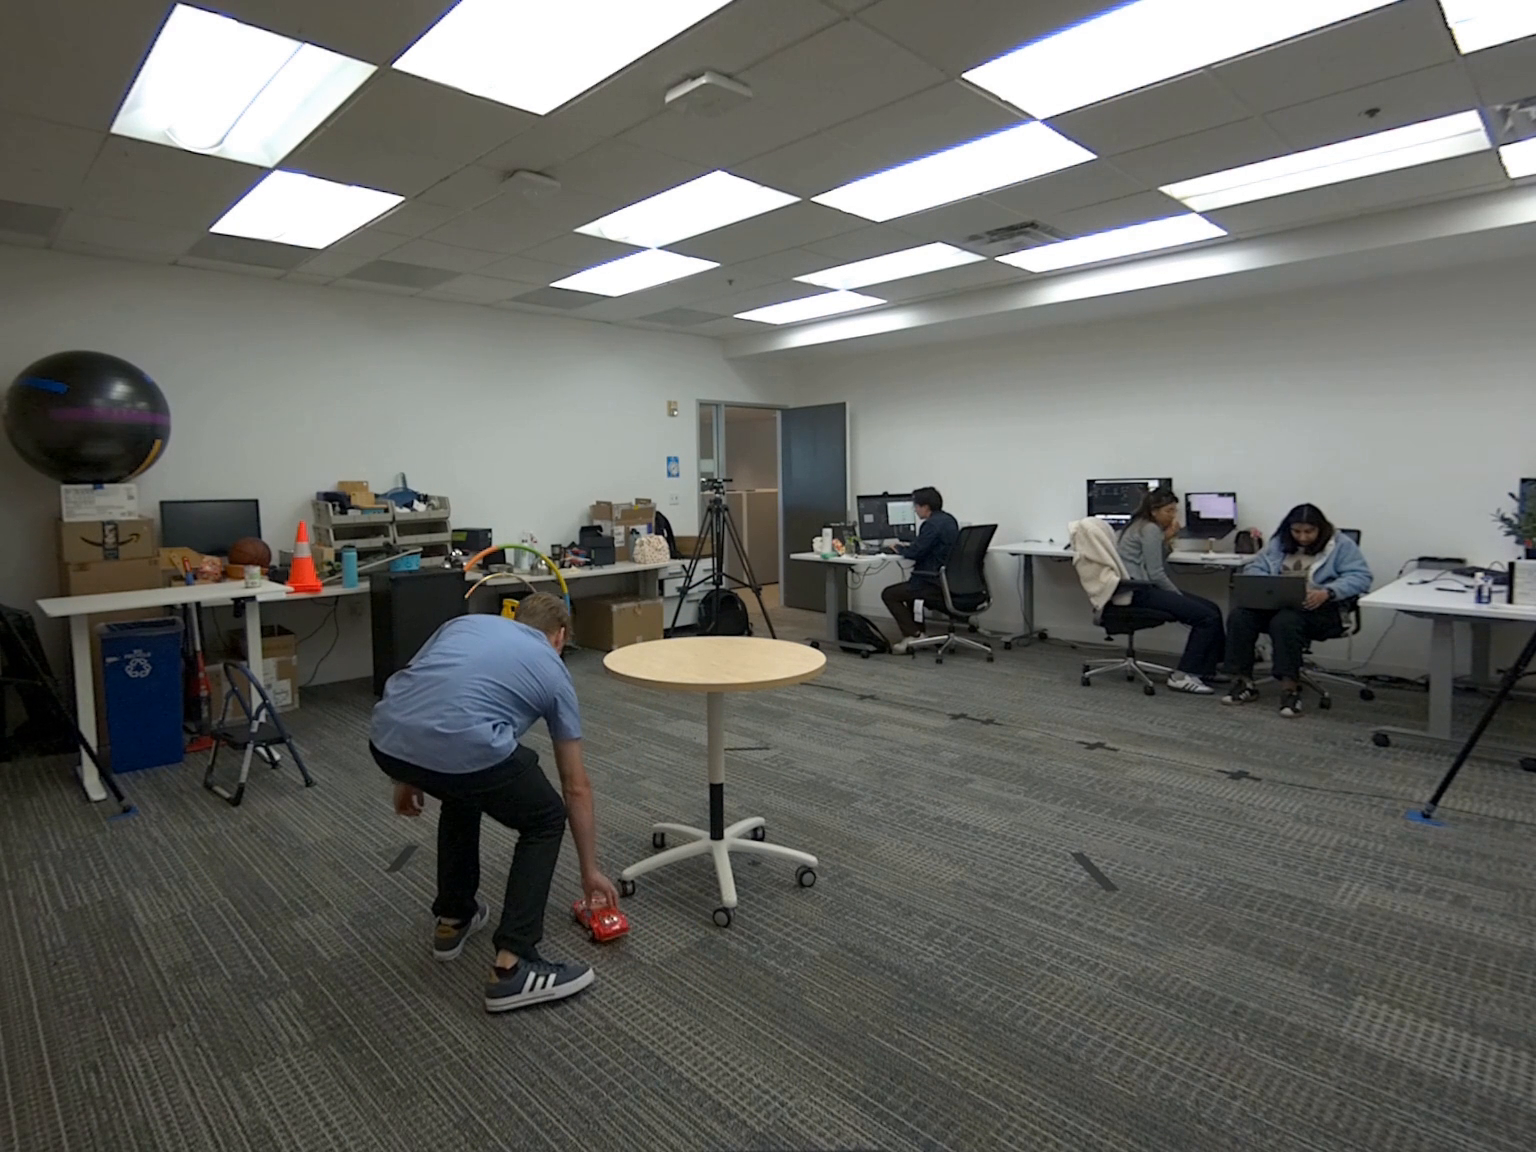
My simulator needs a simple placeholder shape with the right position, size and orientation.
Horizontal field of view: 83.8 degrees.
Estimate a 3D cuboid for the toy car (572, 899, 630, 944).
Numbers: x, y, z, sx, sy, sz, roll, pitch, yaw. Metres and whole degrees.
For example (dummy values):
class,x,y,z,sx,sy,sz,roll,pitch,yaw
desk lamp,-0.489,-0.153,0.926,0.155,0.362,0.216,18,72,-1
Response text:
class,x,y,z,sx,sy,sz,roll,pitch,yaw
toy car,-0.519,1.077,2.664,0.127,0.083,0.259,-4,-4,-32
